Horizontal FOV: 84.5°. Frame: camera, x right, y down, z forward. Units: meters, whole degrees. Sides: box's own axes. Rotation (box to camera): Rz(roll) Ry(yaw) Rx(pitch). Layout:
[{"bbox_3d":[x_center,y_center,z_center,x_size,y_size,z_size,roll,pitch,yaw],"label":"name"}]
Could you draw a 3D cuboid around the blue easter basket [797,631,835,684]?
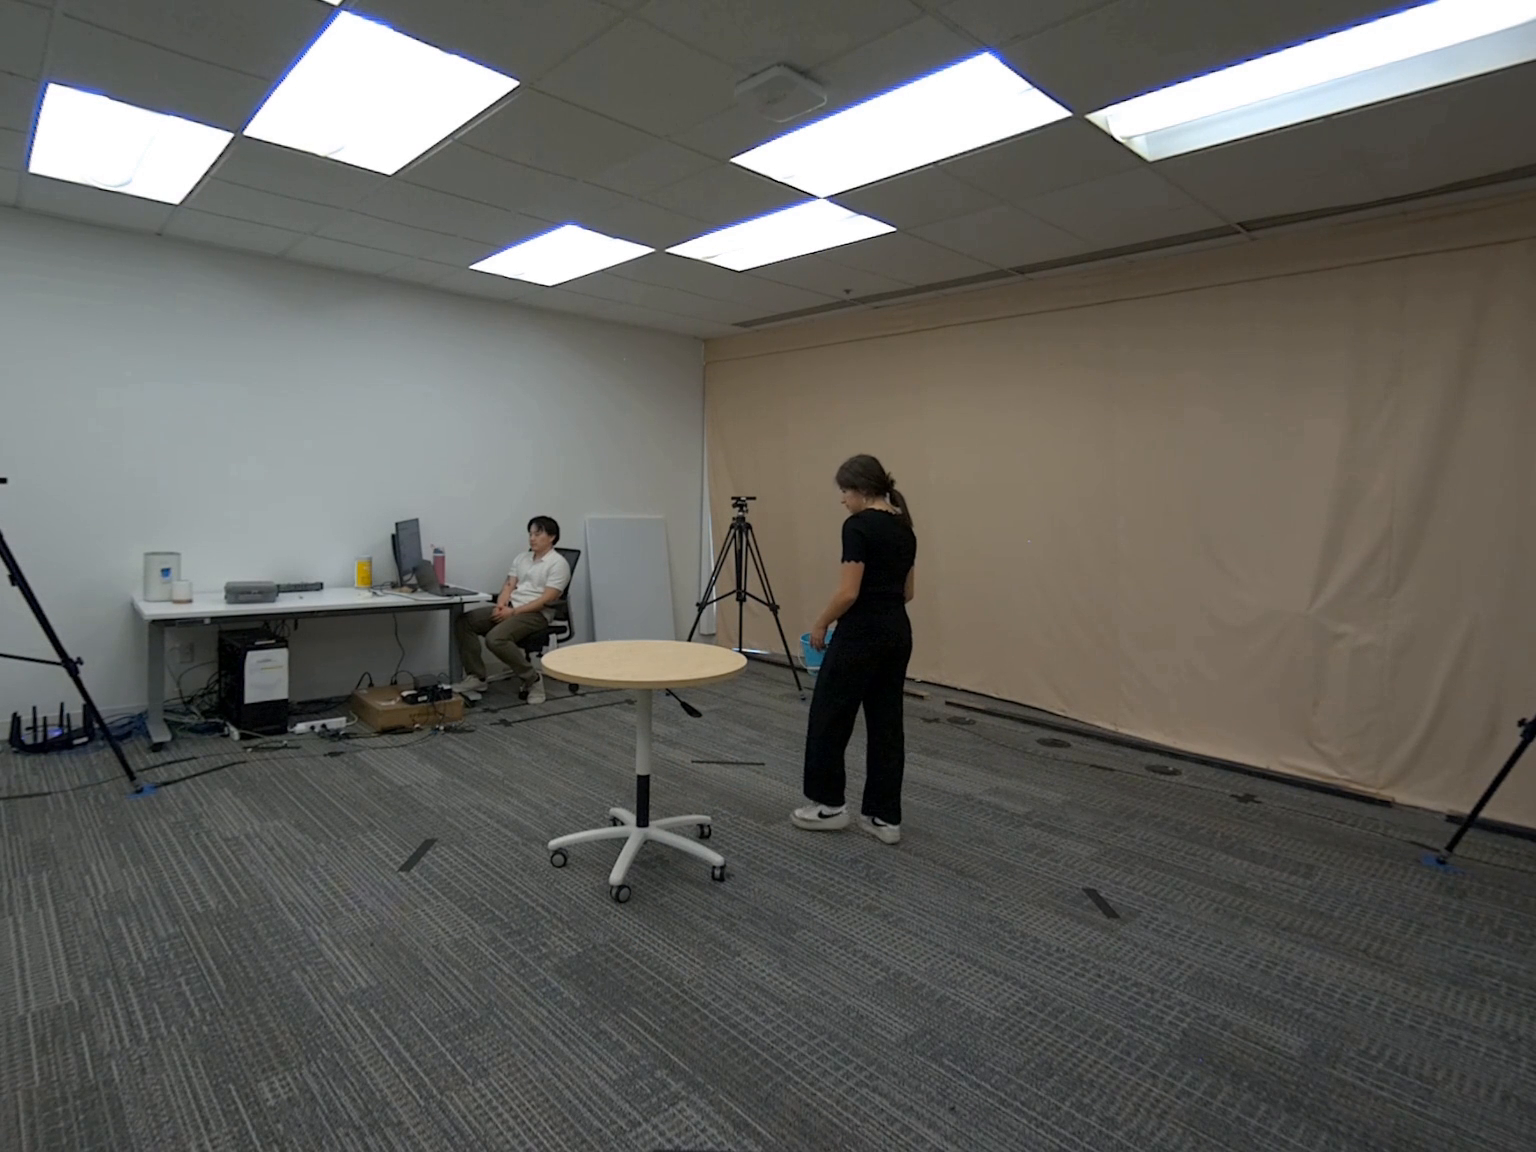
[{"bbox_3d":[0.259,0.344,3.652,0.243,0.155,0.245,-4,8,-1],"label":"blue easter basket"}]
